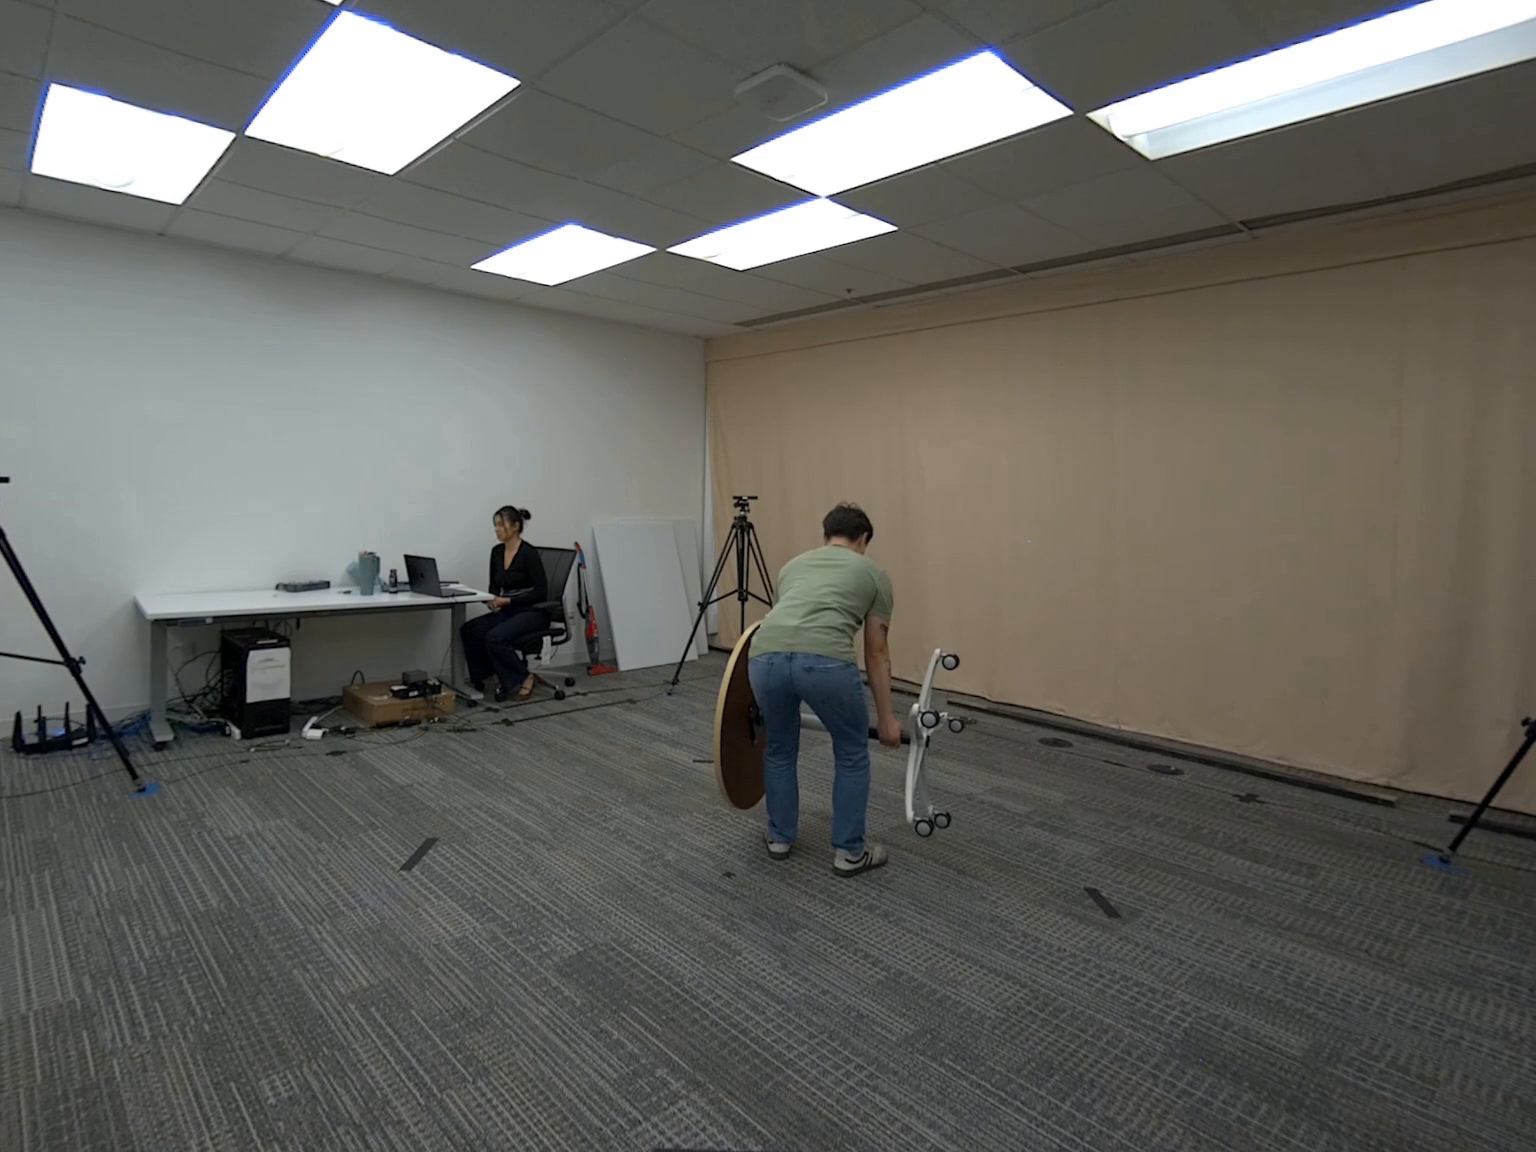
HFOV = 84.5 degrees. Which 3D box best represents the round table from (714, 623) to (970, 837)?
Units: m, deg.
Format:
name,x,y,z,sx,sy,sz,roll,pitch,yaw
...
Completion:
name,x,y,z,sx,sy,sz,roll,pitch,yaw
round table,0.307,0.606,3.306,0.809,0.761,0.752,5,5,23
